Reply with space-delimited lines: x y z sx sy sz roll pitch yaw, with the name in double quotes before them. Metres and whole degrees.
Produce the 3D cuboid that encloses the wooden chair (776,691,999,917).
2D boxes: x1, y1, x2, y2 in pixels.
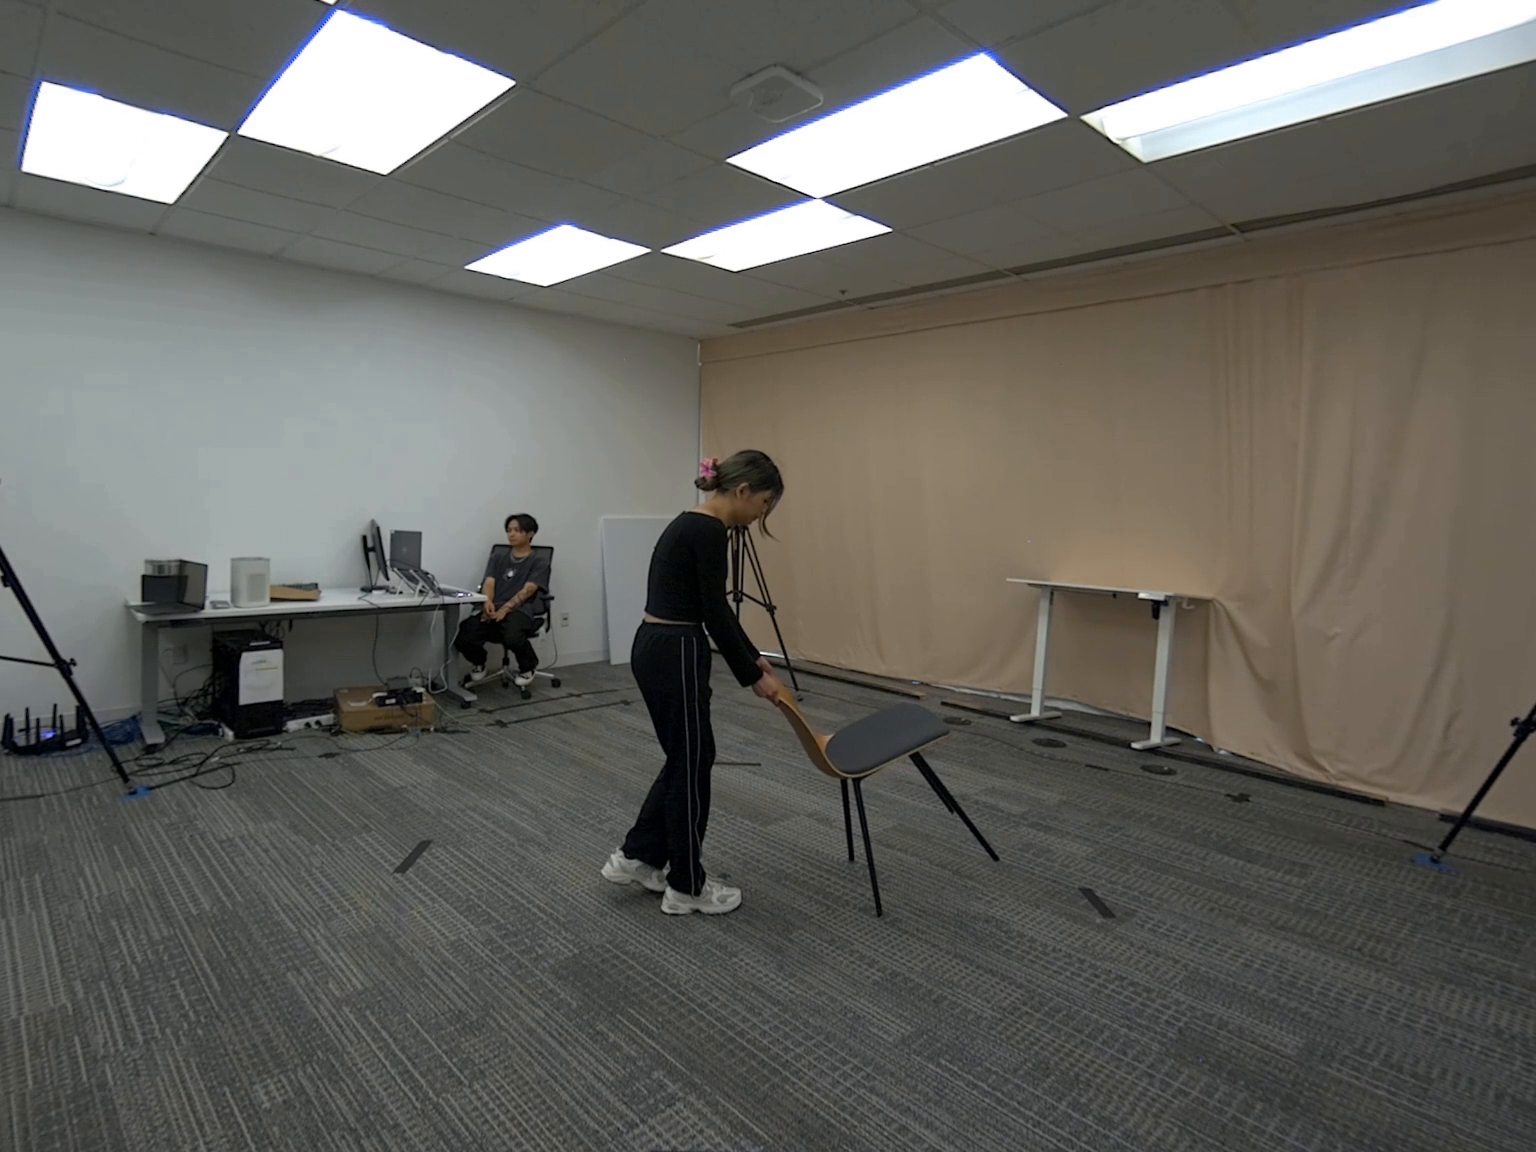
"wooden chair" 0.378 0.639 3.015 0.522 0.873 0.481 -29 5 -4
